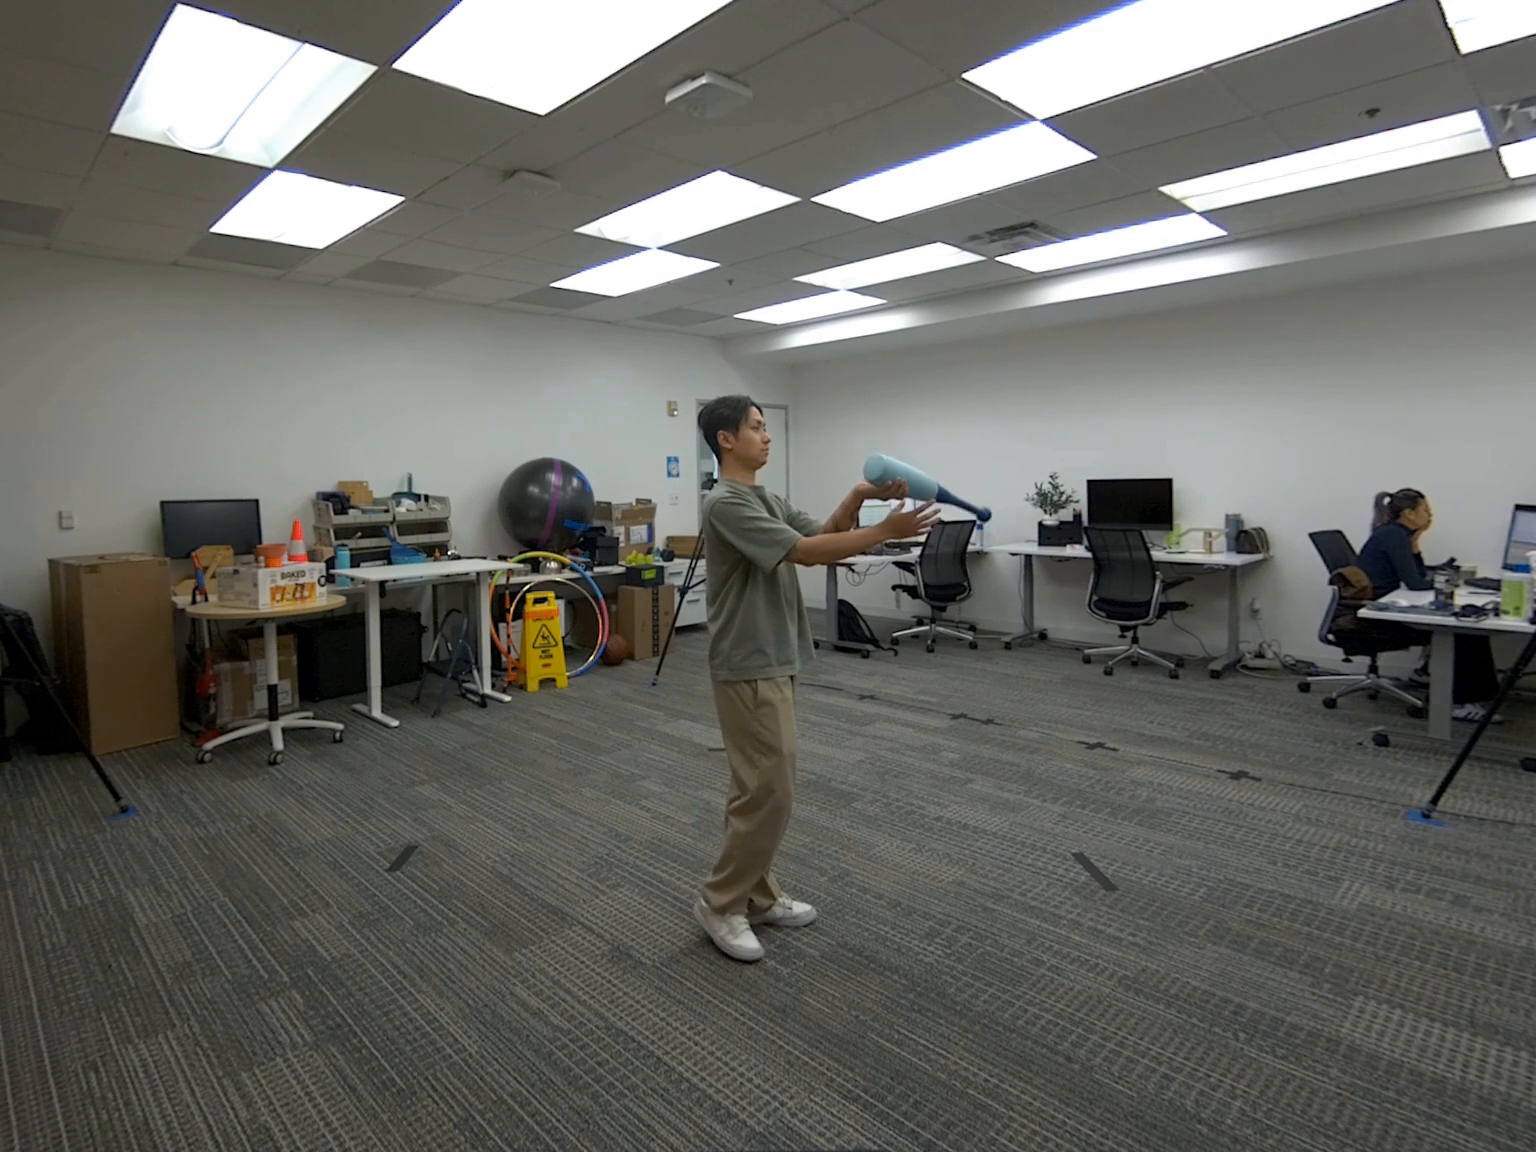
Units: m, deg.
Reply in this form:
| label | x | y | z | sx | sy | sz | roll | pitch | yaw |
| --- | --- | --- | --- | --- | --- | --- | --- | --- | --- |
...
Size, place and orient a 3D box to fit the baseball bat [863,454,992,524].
| label | x | y | z | sx | sy | sz | roll | pitch | yaw |
| --- | --- | --- | --- | --- | --- | --- | --- | --- | --- |
| baseball bat | 0.482 | -0.254 | 2.522 | 0.525 | 0.089 | 0.092 | 16 | -6 | -37 |
